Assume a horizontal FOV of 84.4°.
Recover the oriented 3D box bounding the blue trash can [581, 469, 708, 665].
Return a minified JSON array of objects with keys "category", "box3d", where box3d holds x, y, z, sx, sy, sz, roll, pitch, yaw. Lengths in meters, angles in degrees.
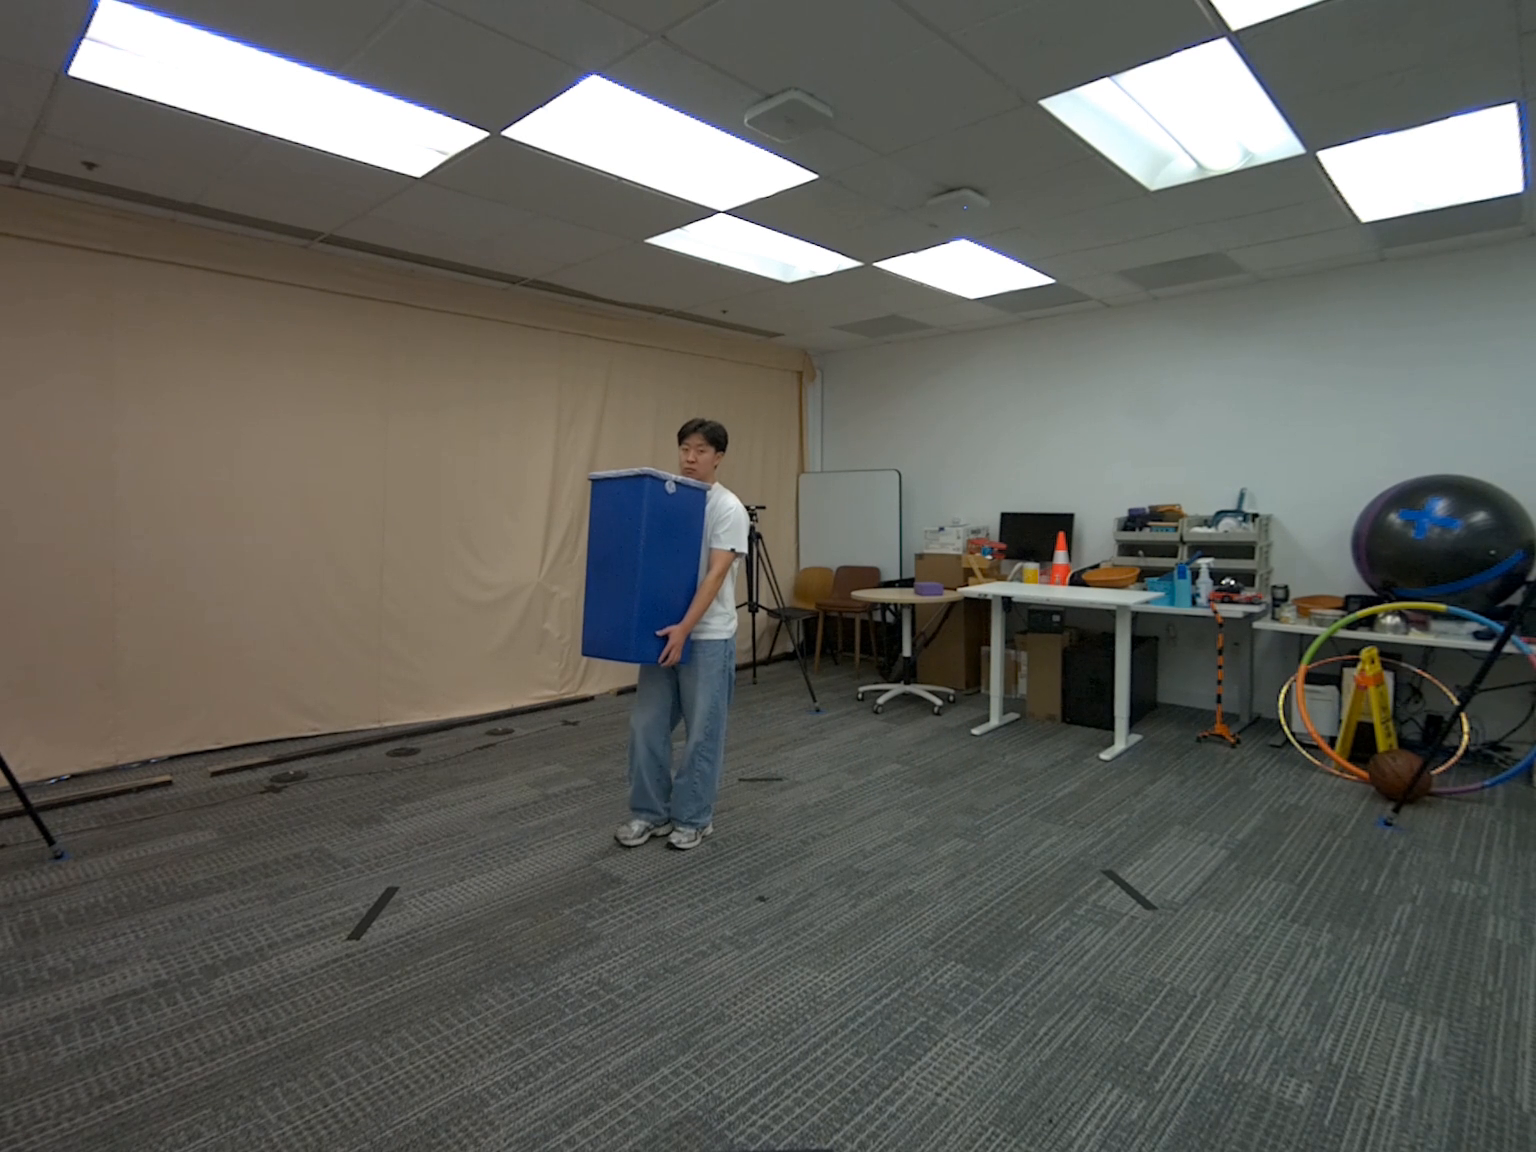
[{"category":"blue trash can","box3d":[-0.501,-0.031,3.294,0.386,0.715,0.365,1,-7,41]}]
